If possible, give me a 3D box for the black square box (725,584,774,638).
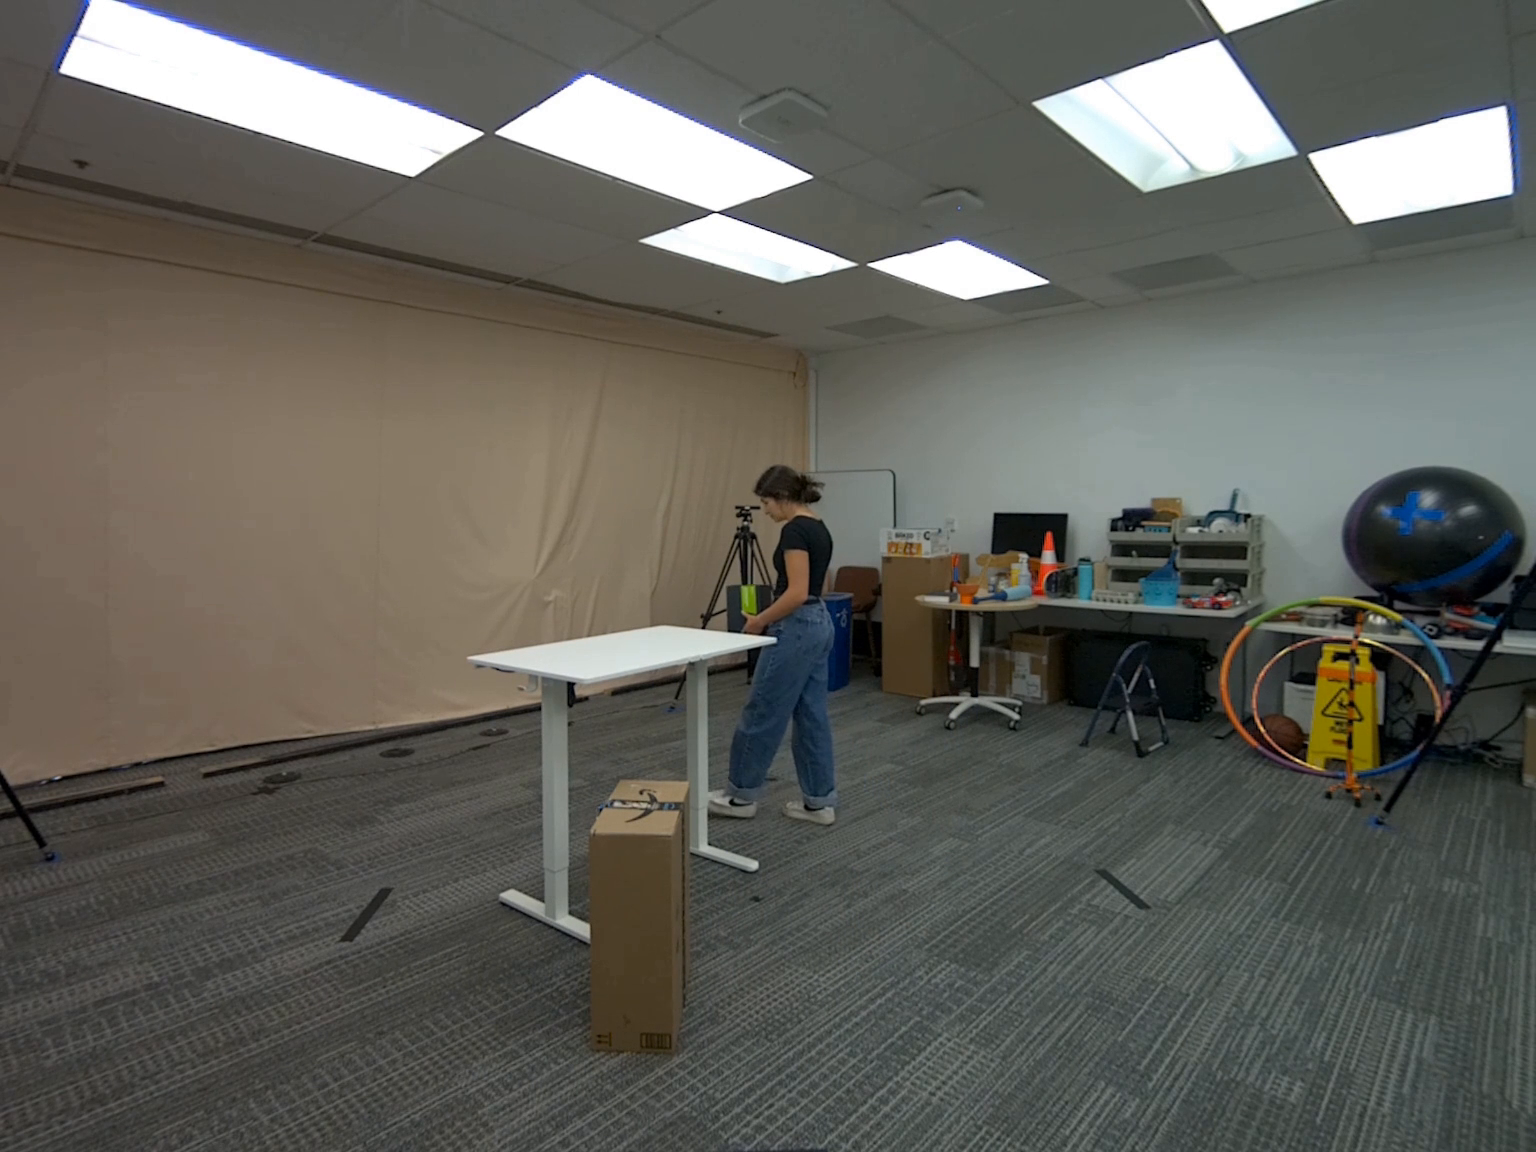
[{"bbox_3d":[-0.083,0.154,3.820,0.158,0.228,0.213,-3,-2,16],"label":"black square box"}]
